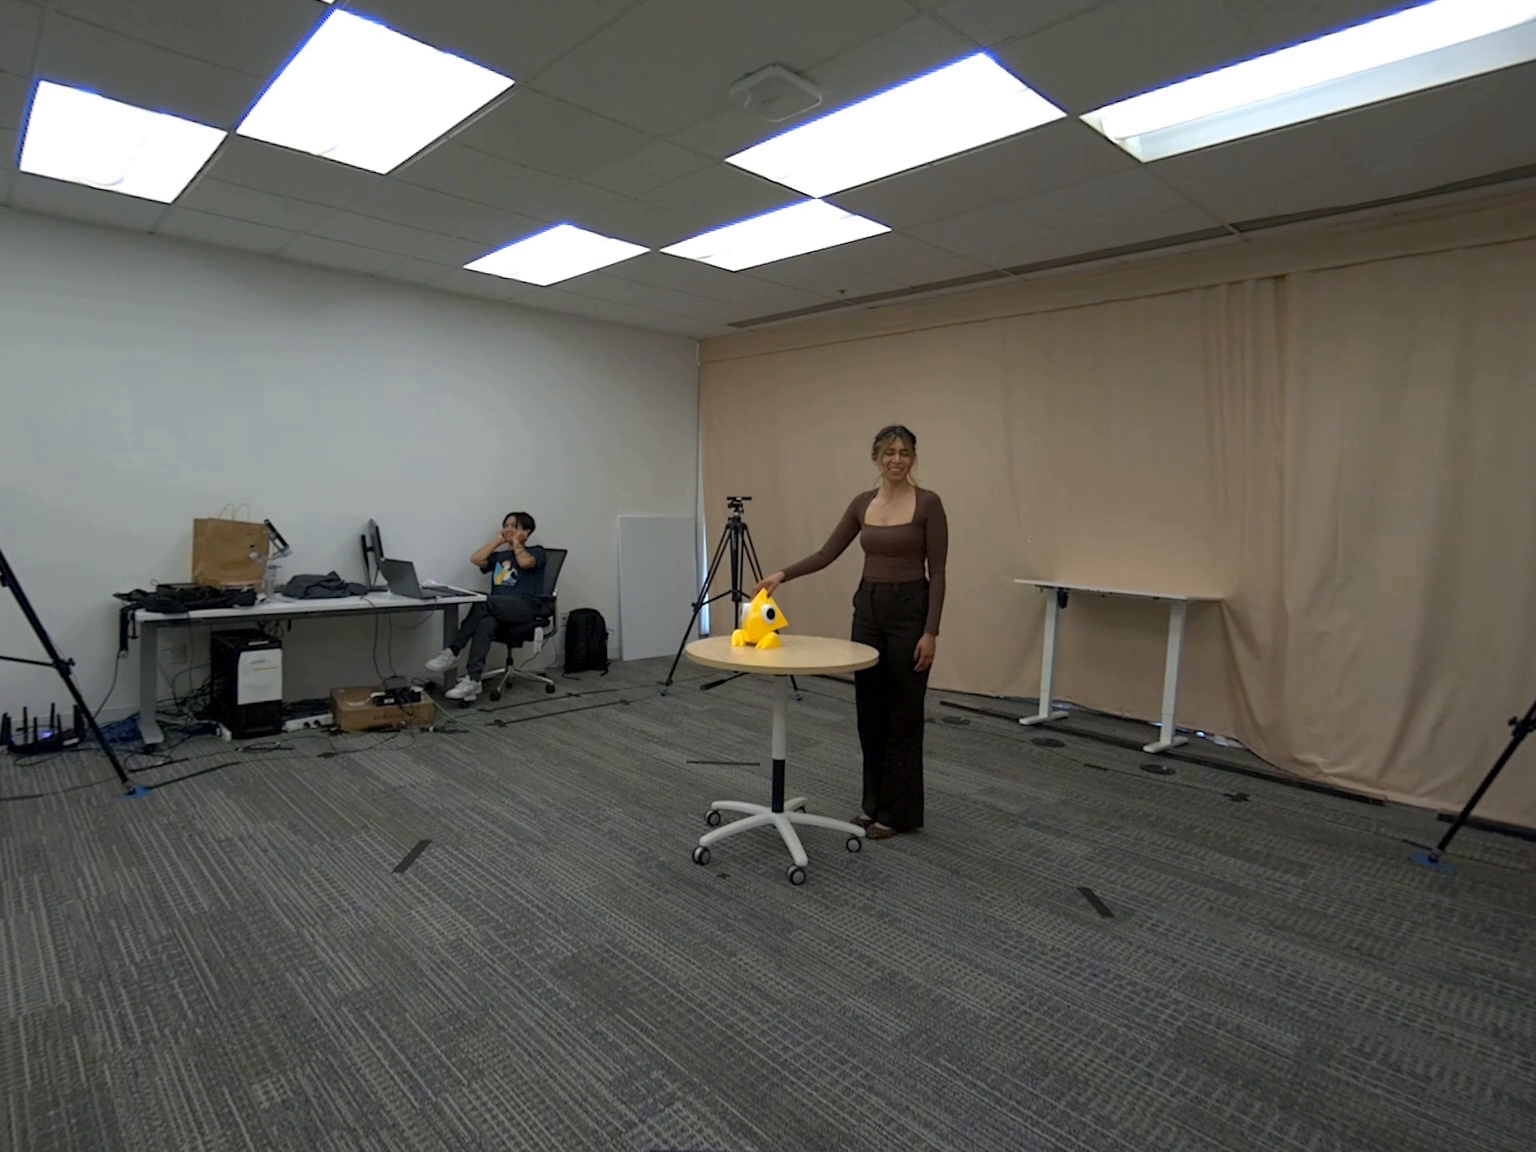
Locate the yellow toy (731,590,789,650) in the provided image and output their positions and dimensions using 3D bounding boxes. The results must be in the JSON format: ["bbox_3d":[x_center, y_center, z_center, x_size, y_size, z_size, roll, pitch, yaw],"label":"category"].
[{"bbox_3d":[-0.052,0.168,3.451,0.208,0.230,0.190,2,3,24],"label":"yellow toy"}]
